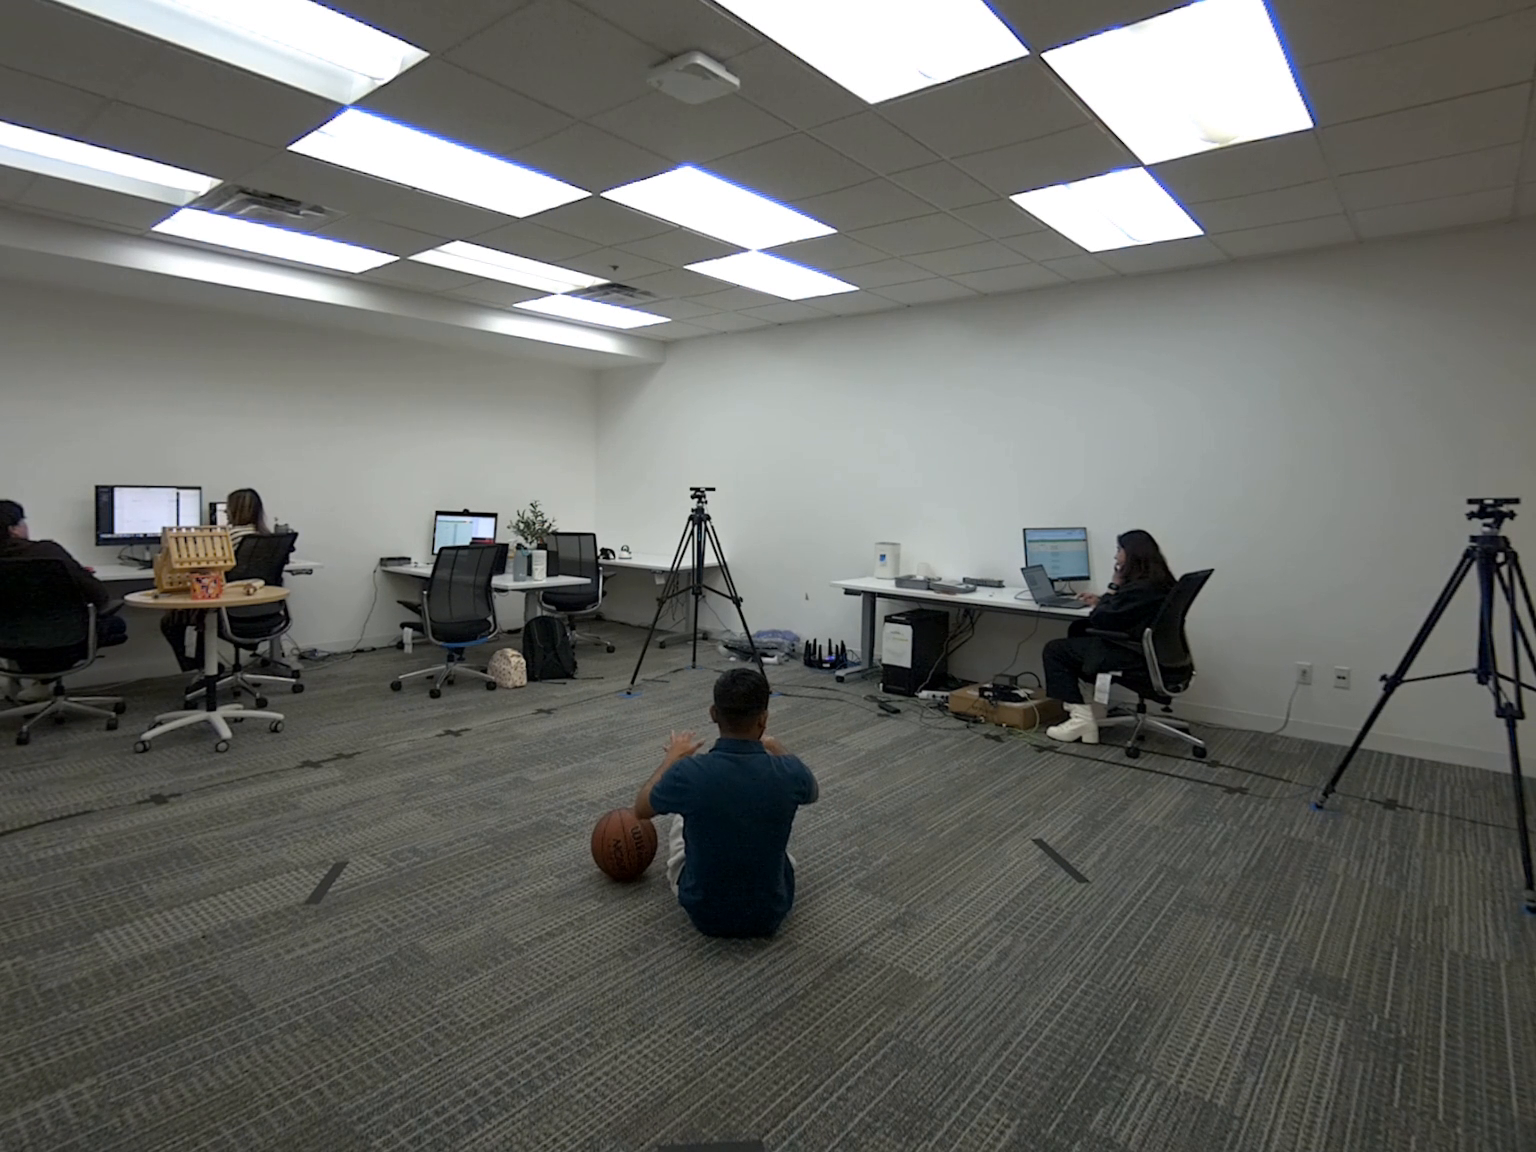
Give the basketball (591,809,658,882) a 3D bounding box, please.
[{"bbox_3d":[-0.523,0.945,3.035,0.235,0.235,0.237,1,4,-2],"label":"basketball"}]
